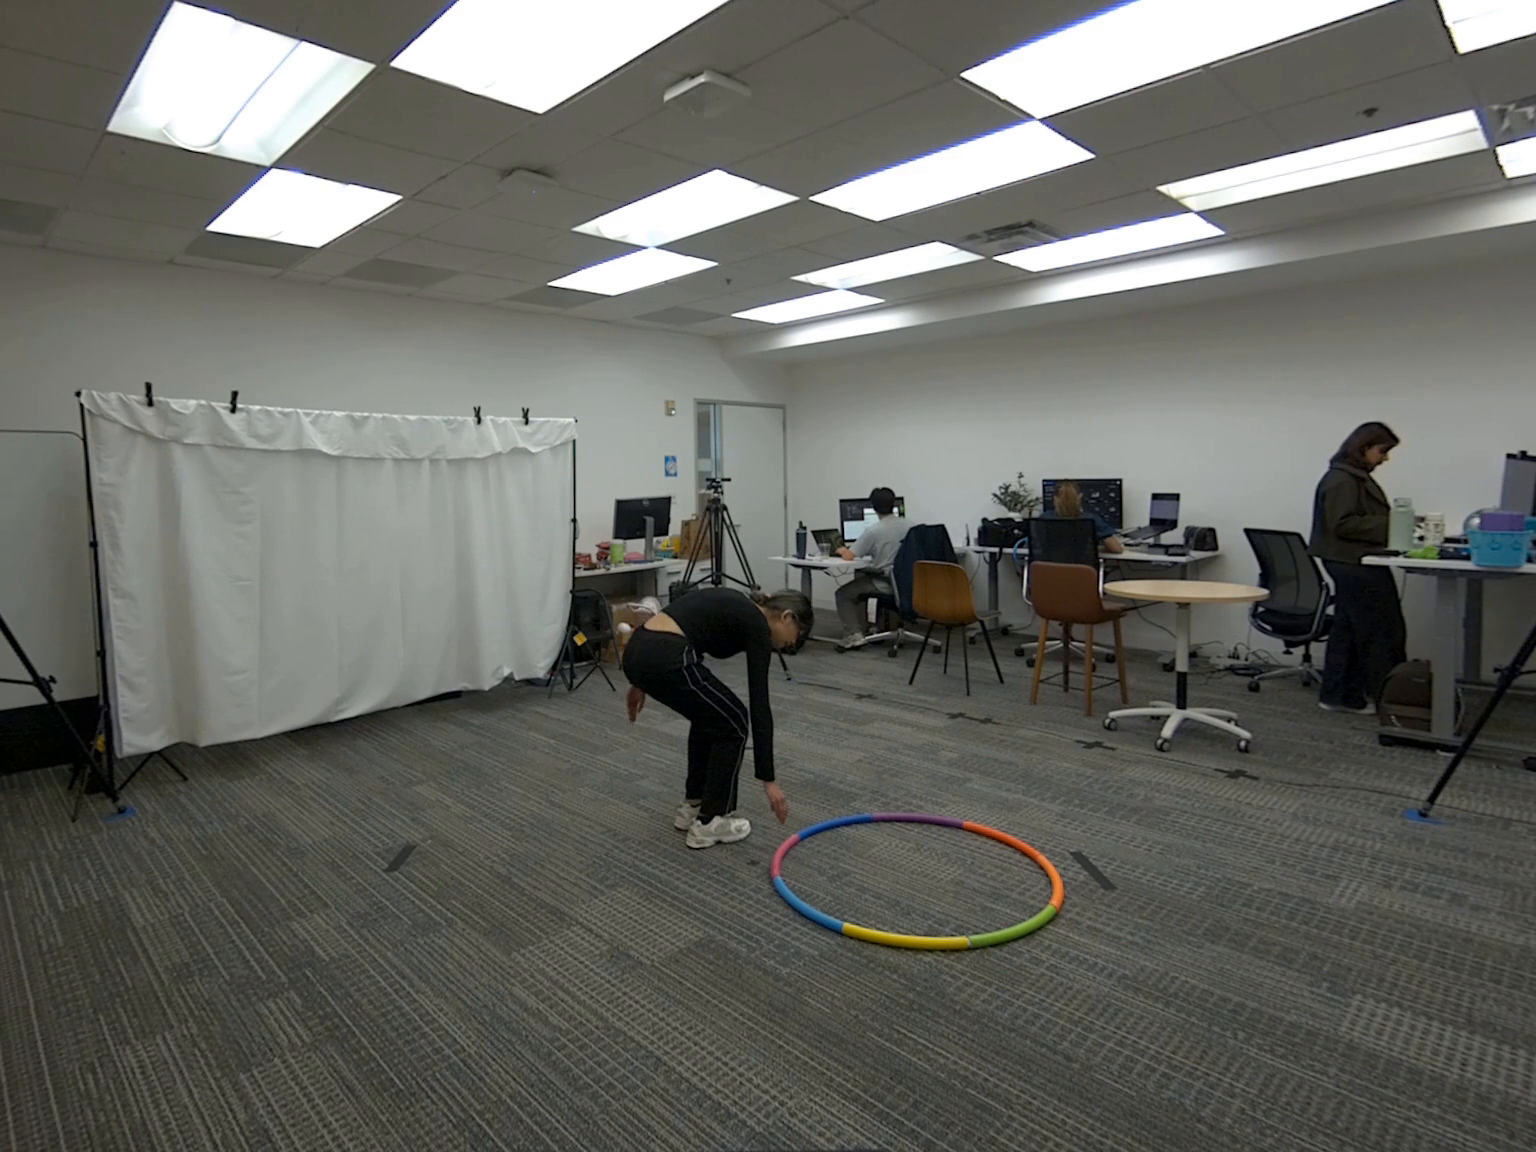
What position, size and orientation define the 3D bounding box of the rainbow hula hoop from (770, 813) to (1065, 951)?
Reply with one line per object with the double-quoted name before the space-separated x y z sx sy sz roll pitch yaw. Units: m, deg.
"rainbow hula hoop" 0.499 1.015 2.988 0.978 0.035 0.984 -2 7 -2
